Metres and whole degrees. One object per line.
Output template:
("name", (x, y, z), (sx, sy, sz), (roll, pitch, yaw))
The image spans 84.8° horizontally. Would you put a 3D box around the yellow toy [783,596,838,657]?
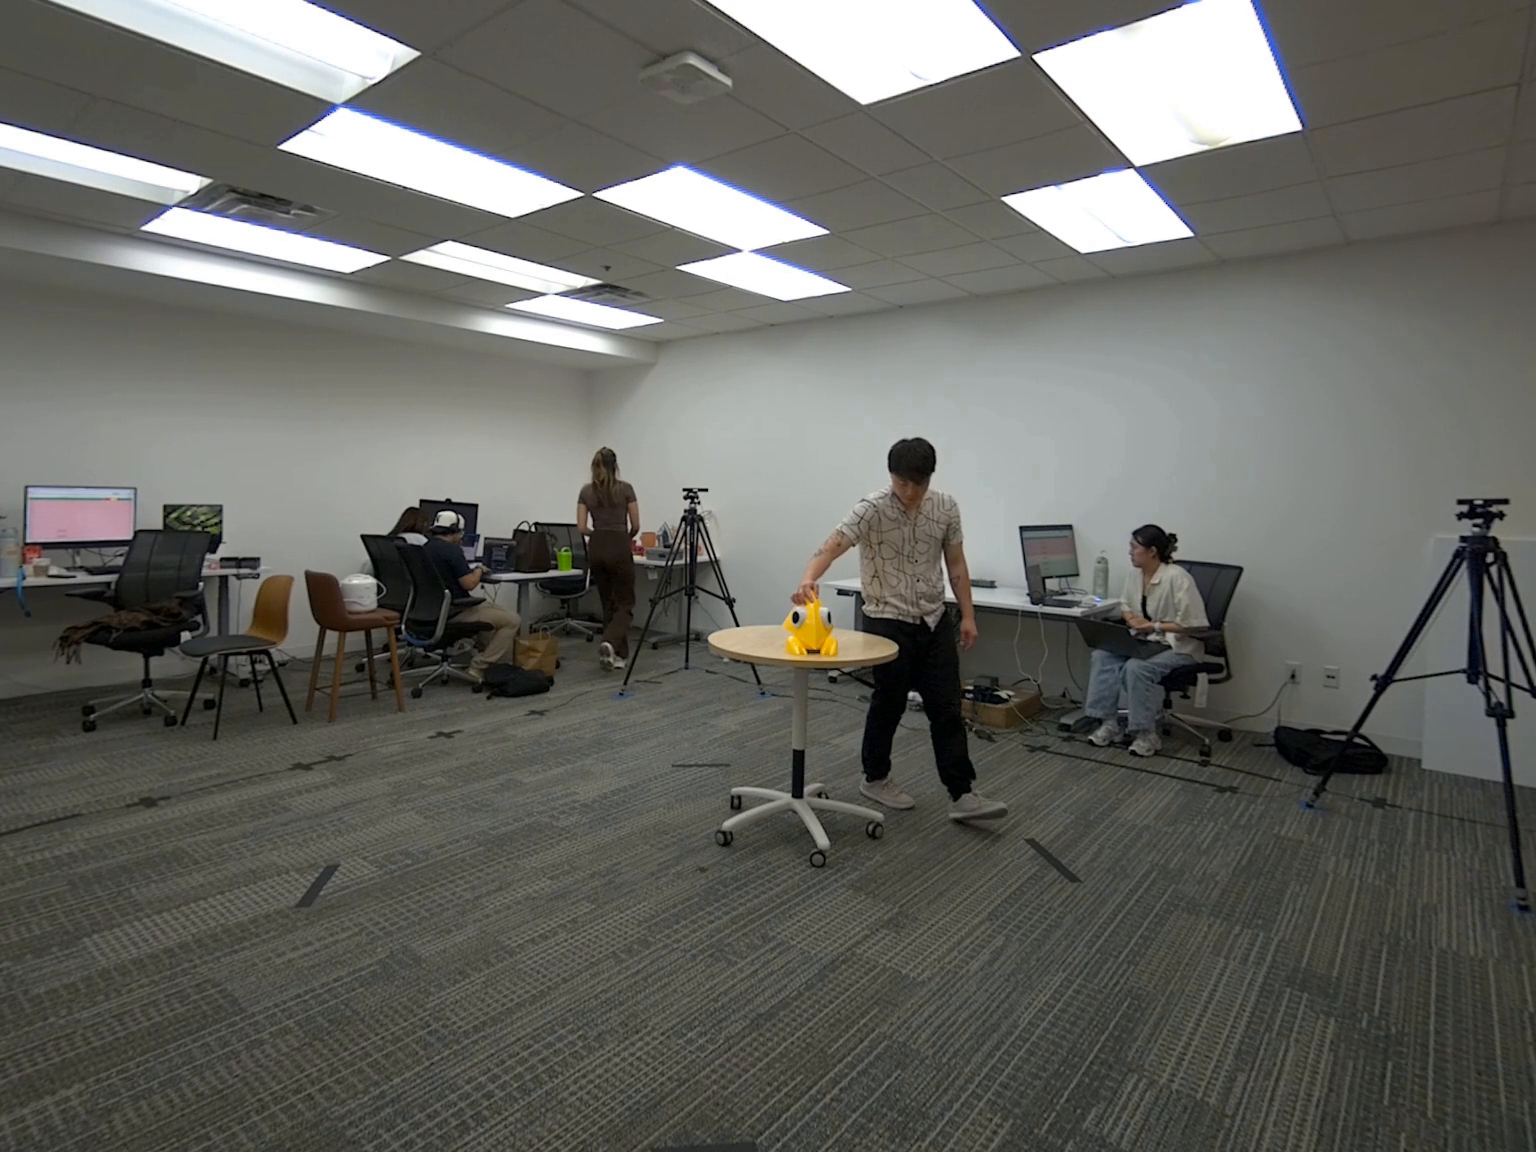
("yellow toy", (0.160, 0.169, 3.244), (0.204, 0.230, 0.194), (1, 3, -5))
